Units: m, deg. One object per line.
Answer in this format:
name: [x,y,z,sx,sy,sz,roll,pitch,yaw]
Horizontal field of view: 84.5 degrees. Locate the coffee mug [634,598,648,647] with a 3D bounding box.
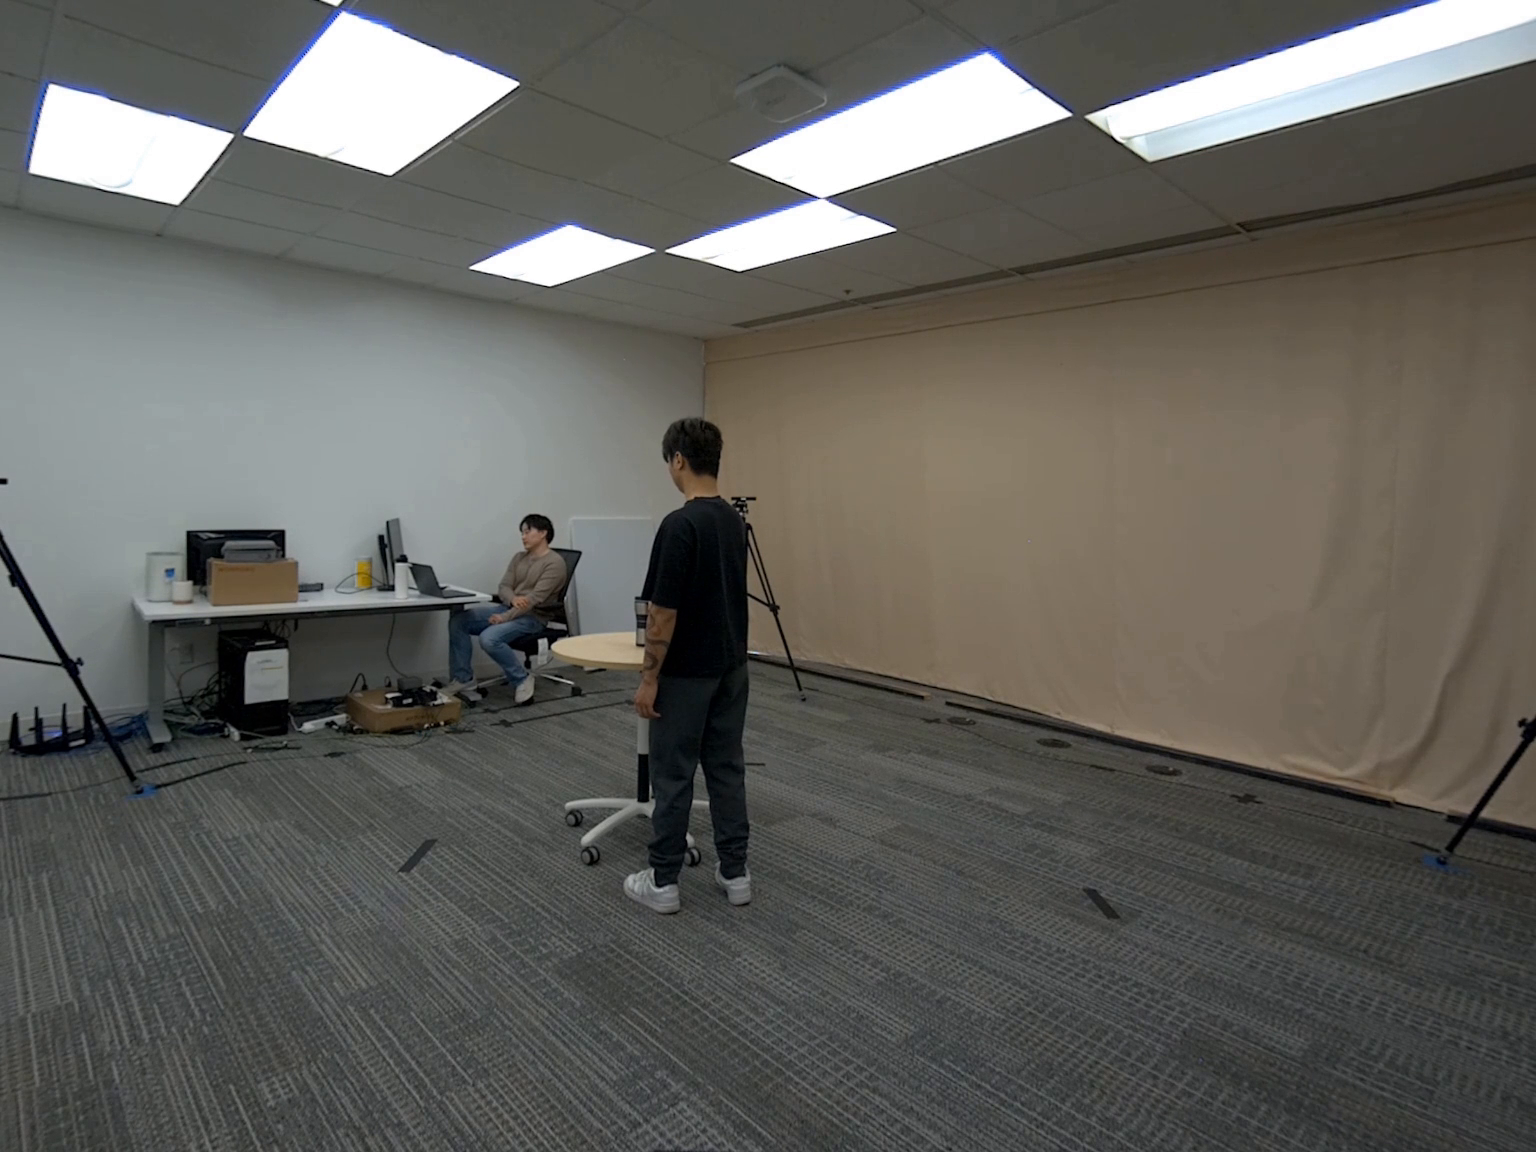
coffee mug: [-0.507,0.189,3.426,0.086,0.203,0.124,5,-3,-29]
